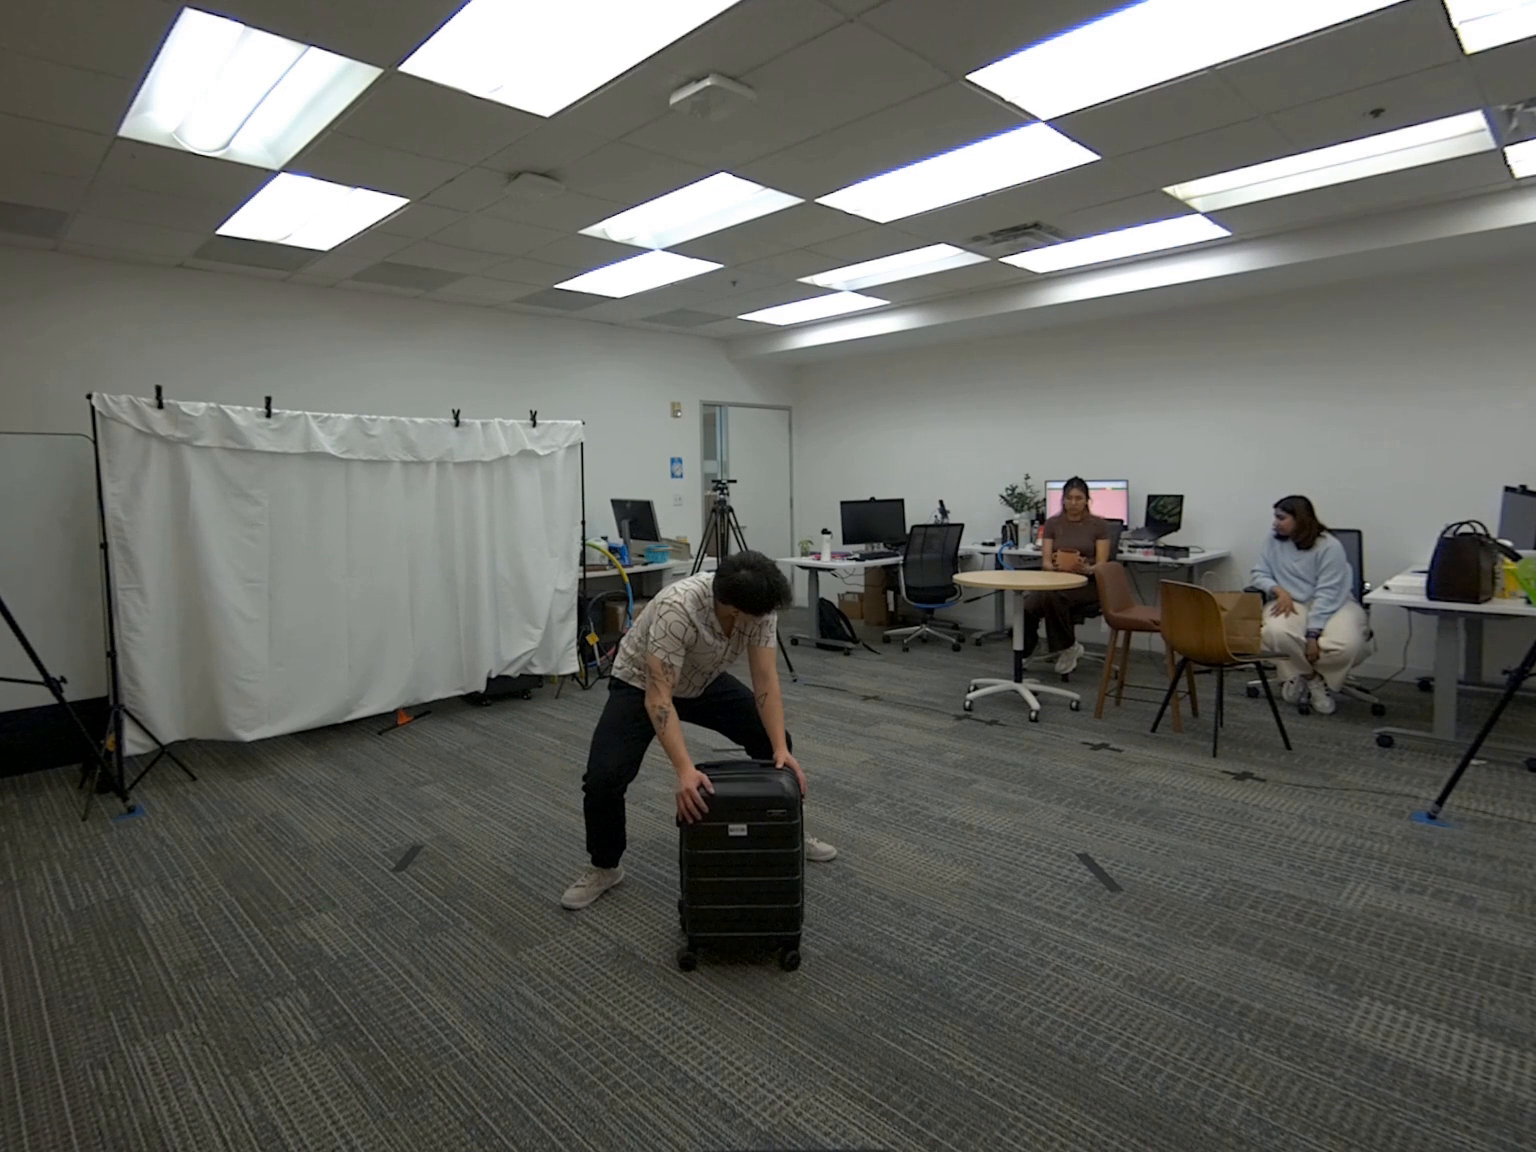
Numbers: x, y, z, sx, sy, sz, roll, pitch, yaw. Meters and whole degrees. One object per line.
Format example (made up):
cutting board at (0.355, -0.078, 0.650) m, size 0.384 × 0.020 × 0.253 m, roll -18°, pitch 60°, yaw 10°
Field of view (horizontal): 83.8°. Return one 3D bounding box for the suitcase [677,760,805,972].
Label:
suitcase at (-0.076, 0.838, 2.547) m, size 0.375 × 0.548 × 0.249 m, roll 0°, pitch 3°, yaw 0°
